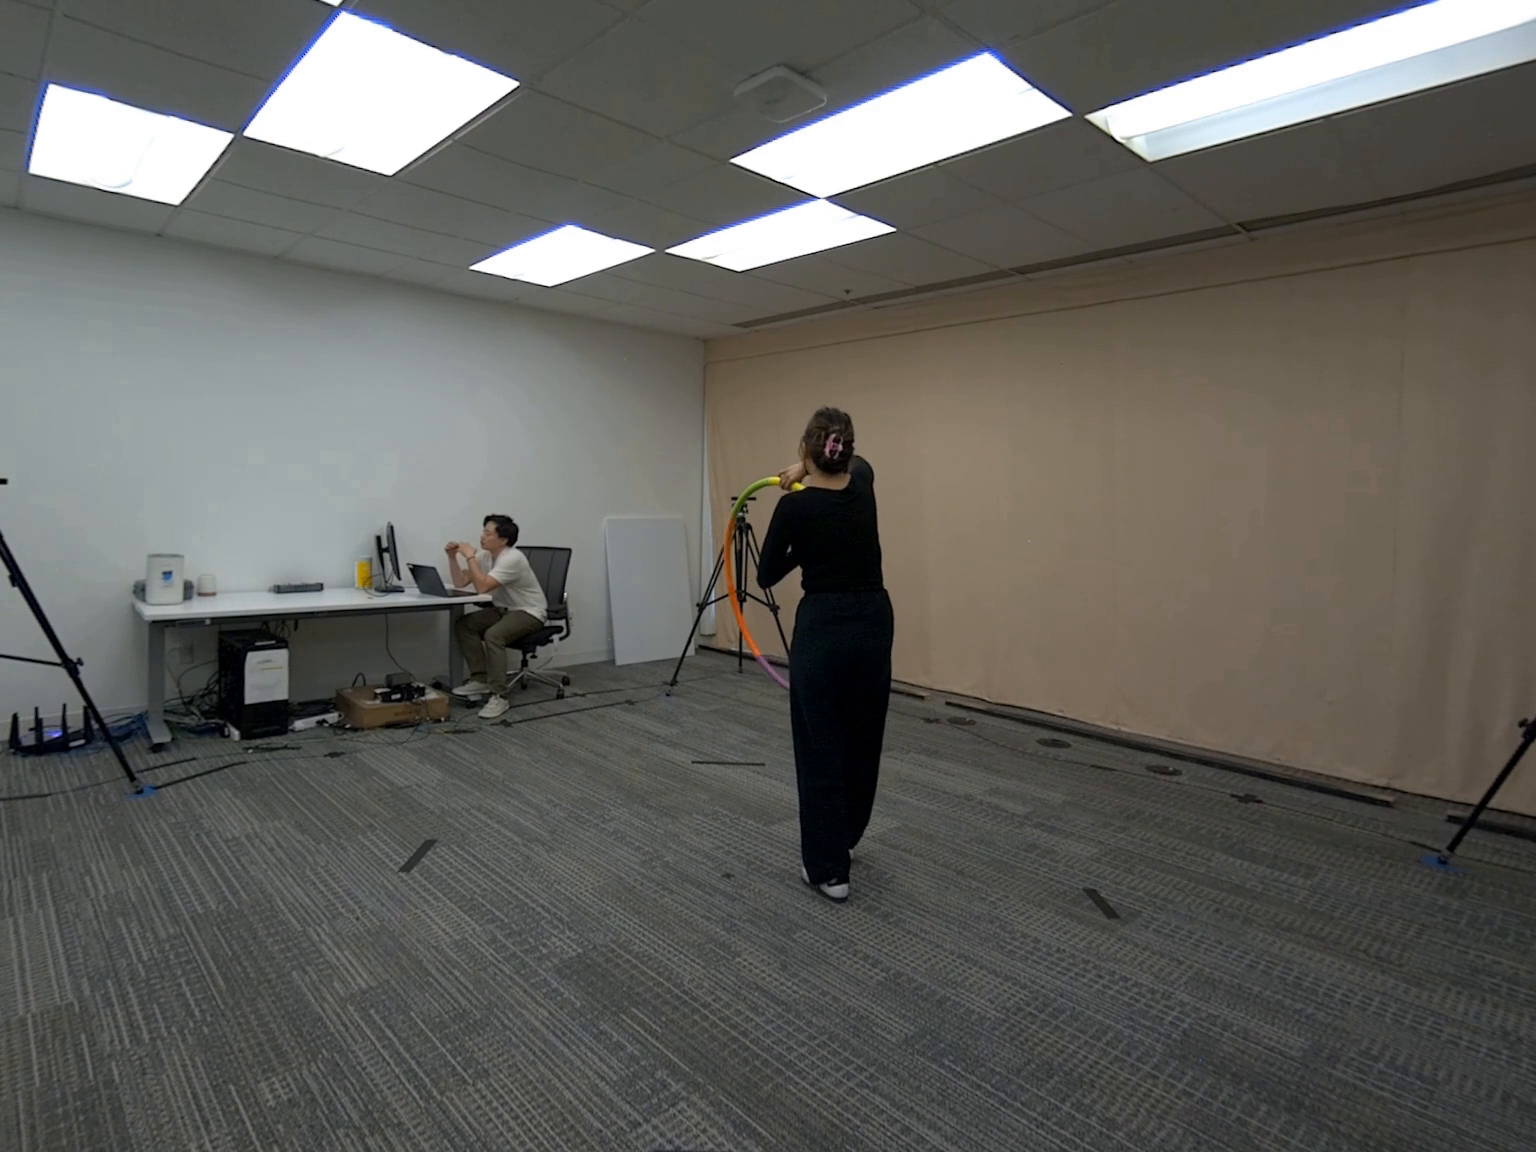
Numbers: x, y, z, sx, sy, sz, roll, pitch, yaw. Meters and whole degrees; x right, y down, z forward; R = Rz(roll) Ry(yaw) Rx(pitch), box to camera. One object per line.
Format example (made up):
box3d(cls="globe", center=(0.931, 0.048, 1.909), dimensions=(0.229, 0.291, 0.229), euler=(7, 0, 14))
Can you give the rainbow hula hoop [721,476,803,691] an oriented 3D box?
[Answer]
box3d(cls="rainbow hula hoop", center=(0.093, 0.069, 3.607), dimensions=(0.051, 0.976, 1.010), euler=(-16, 13, -34))
